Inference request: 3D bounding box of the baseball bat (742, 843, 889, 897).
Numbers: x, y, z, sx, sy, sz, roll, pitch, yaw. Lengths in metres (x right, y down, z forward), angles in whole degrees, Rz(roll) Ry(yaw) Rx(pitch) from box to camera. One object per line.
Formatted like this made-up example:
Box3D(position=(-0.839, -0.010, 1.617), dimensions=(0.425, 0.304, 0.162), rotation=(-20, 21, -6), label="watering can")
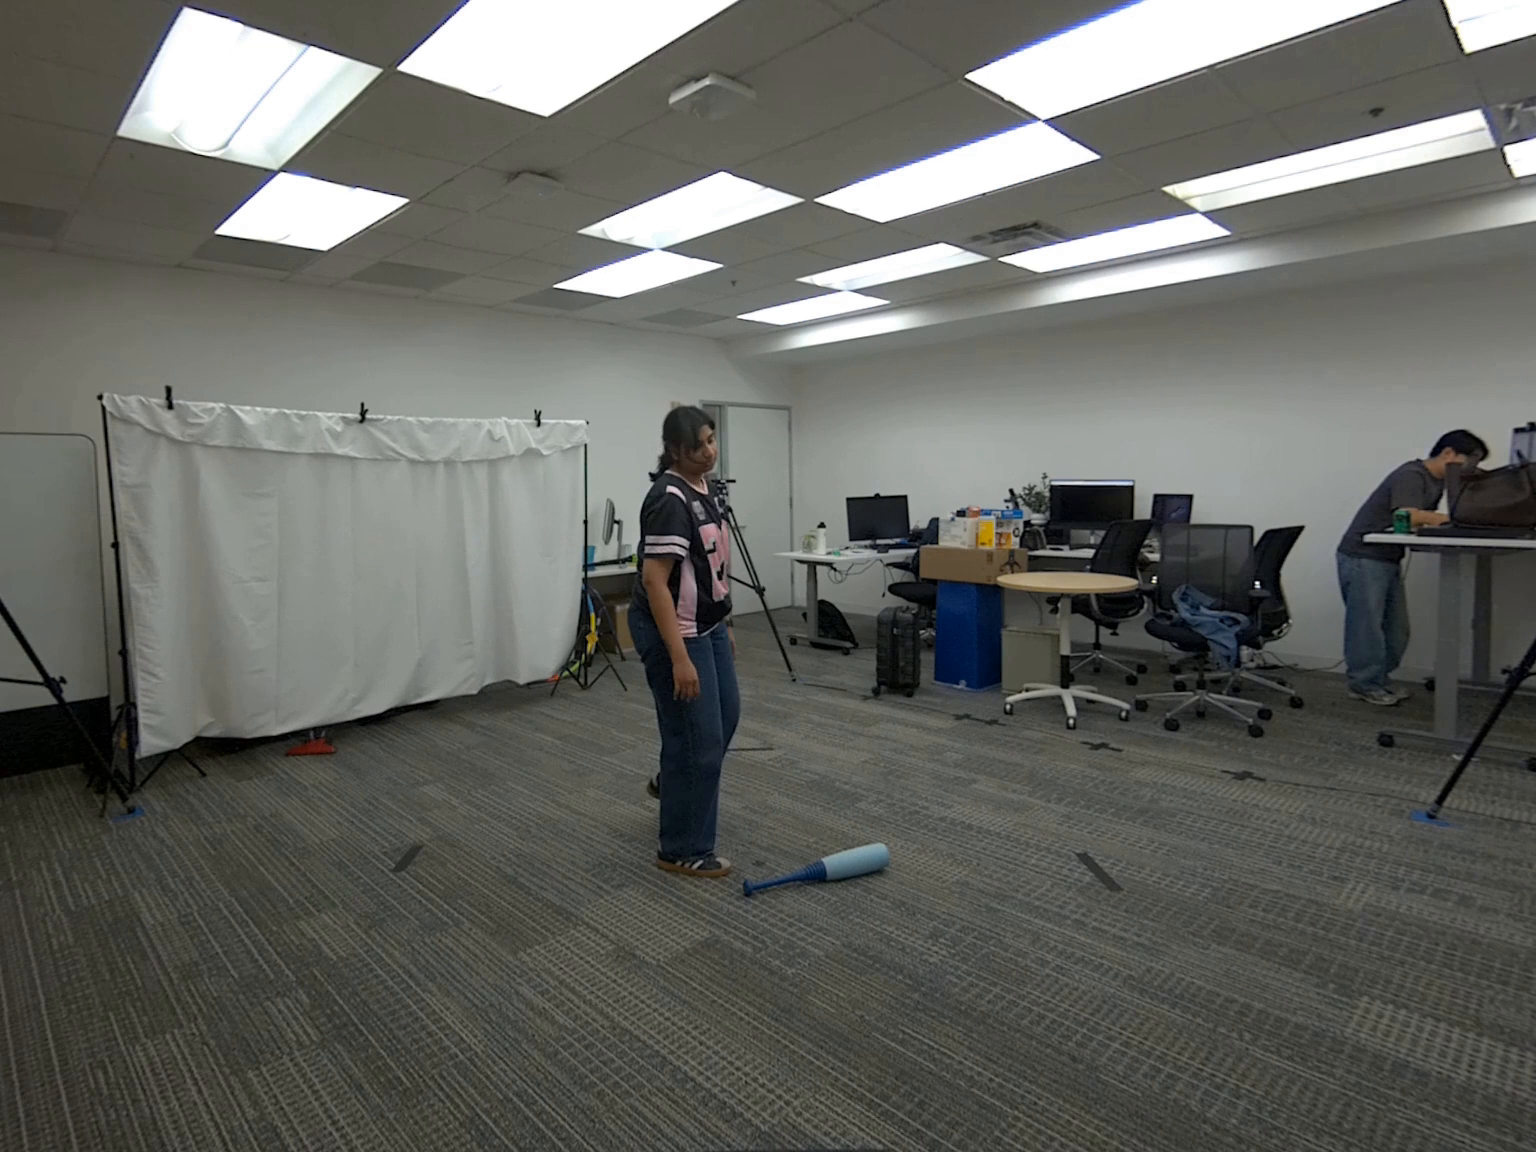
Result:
Box3D(position=(0.174, 1.021, 2.961), dimensions=(0.534, 0.088, 0.091), rotation=(-7, 7, -20), label="baseball bat")
